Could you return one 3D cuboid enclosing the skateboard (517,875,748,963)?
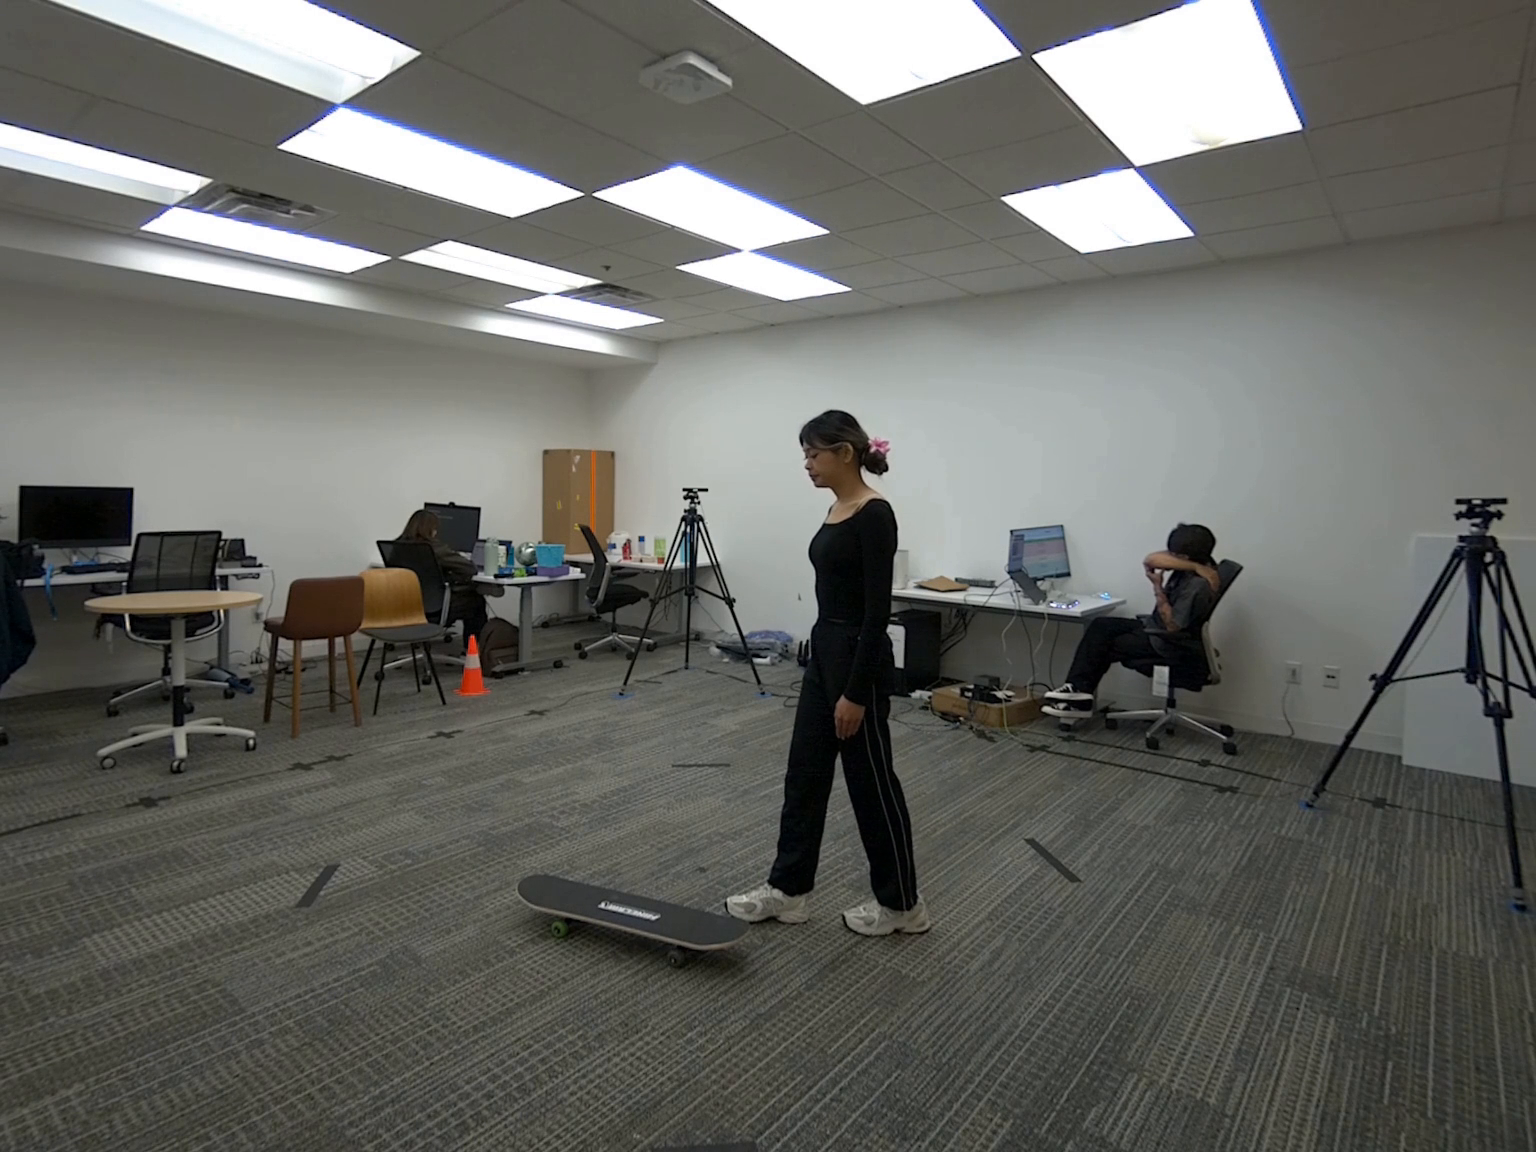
[{"bbox_3d":[-0.441,1.054,2.620,0.803,0.110,0.190,3,5,21],"label":"skateboard"}]
